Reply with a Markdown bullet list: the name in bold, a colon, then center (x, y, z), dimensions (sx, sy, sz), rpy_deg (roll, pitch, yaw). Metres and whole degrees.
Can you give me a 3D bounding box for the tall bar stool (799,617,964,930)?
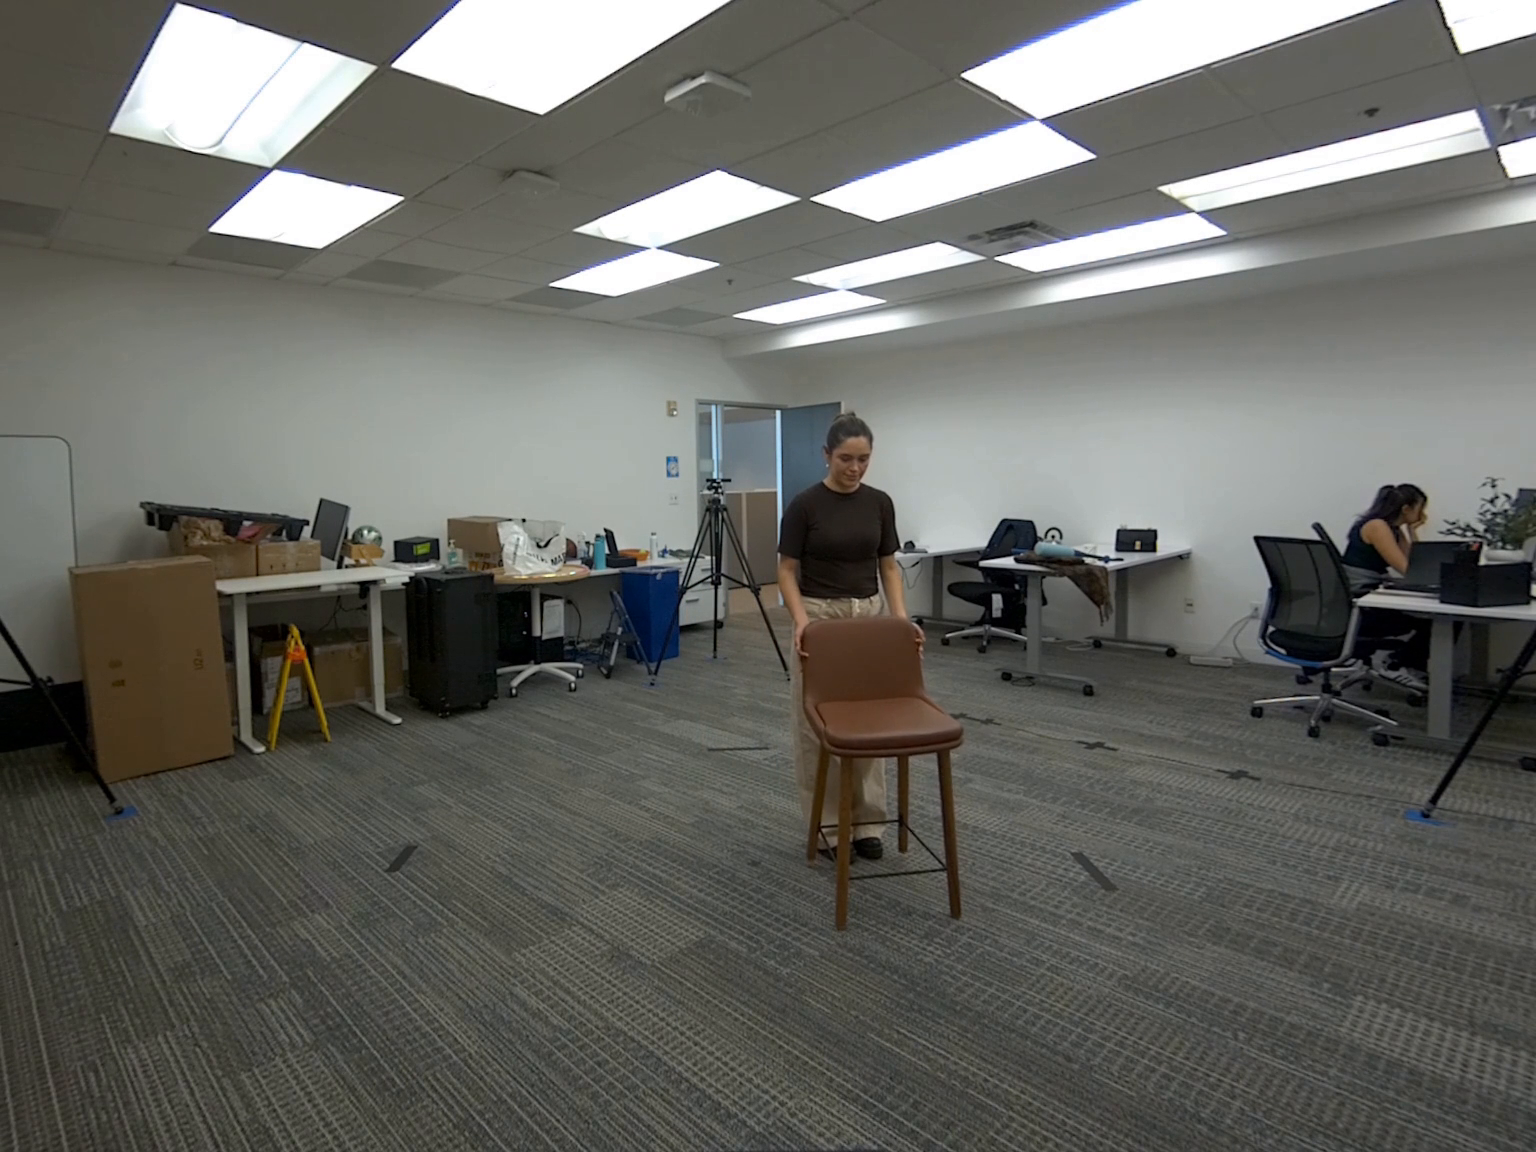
- **tall bar stool**: center (0.368, 0.620, 2.835), dimensions (0.452, 0.885, 0.475), rpy_deg (-2, 6, -11)
